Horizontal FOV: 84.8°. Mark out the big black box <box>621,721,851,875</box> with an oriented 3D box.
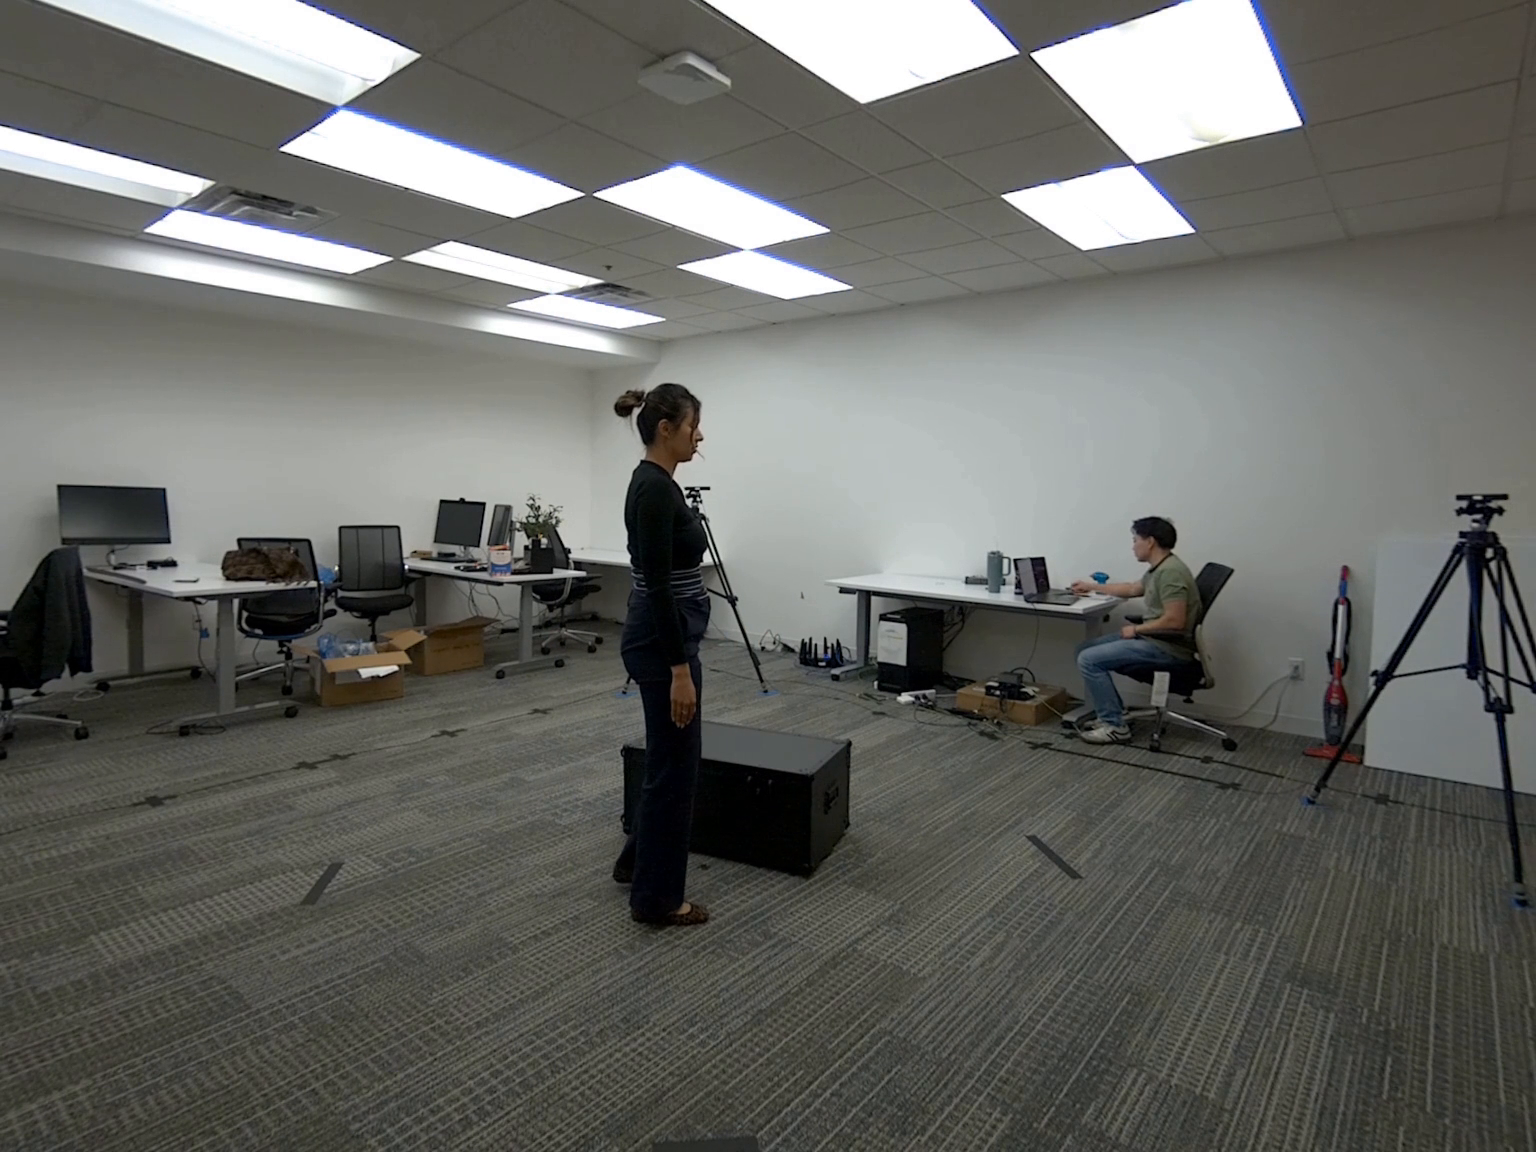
[{"bbox_3d":[-0.158,0.845,3.410,0.883,0.395,0.510,3,5,24],"label":"big black box"}]
